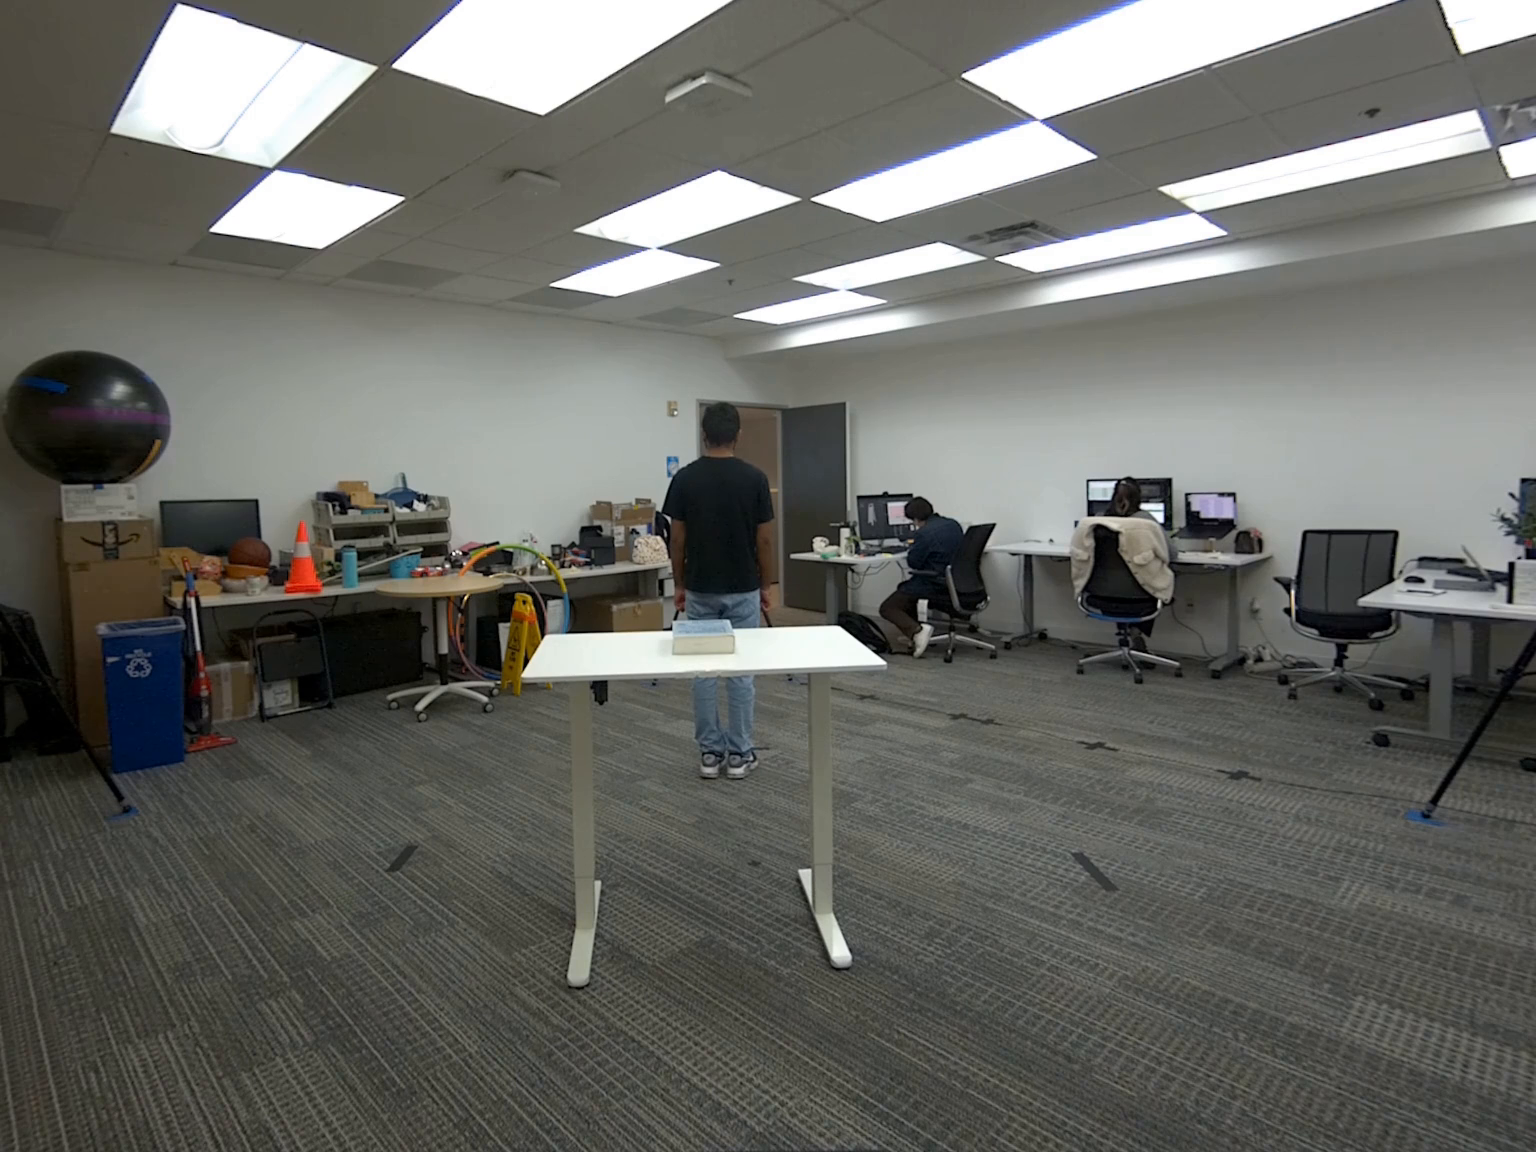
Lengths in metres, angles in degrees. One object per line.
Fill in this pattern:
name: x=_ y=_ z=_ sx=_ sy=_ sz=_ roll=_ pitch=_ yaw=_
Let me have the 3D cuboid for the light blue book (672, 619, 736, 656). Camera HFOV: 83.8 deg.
light blue book: x=-0.220 y=0.191 z=2.665 sx=0.191 sy=0.058 sz=0.263 roll=-2 pitch=8 yaw=-2
